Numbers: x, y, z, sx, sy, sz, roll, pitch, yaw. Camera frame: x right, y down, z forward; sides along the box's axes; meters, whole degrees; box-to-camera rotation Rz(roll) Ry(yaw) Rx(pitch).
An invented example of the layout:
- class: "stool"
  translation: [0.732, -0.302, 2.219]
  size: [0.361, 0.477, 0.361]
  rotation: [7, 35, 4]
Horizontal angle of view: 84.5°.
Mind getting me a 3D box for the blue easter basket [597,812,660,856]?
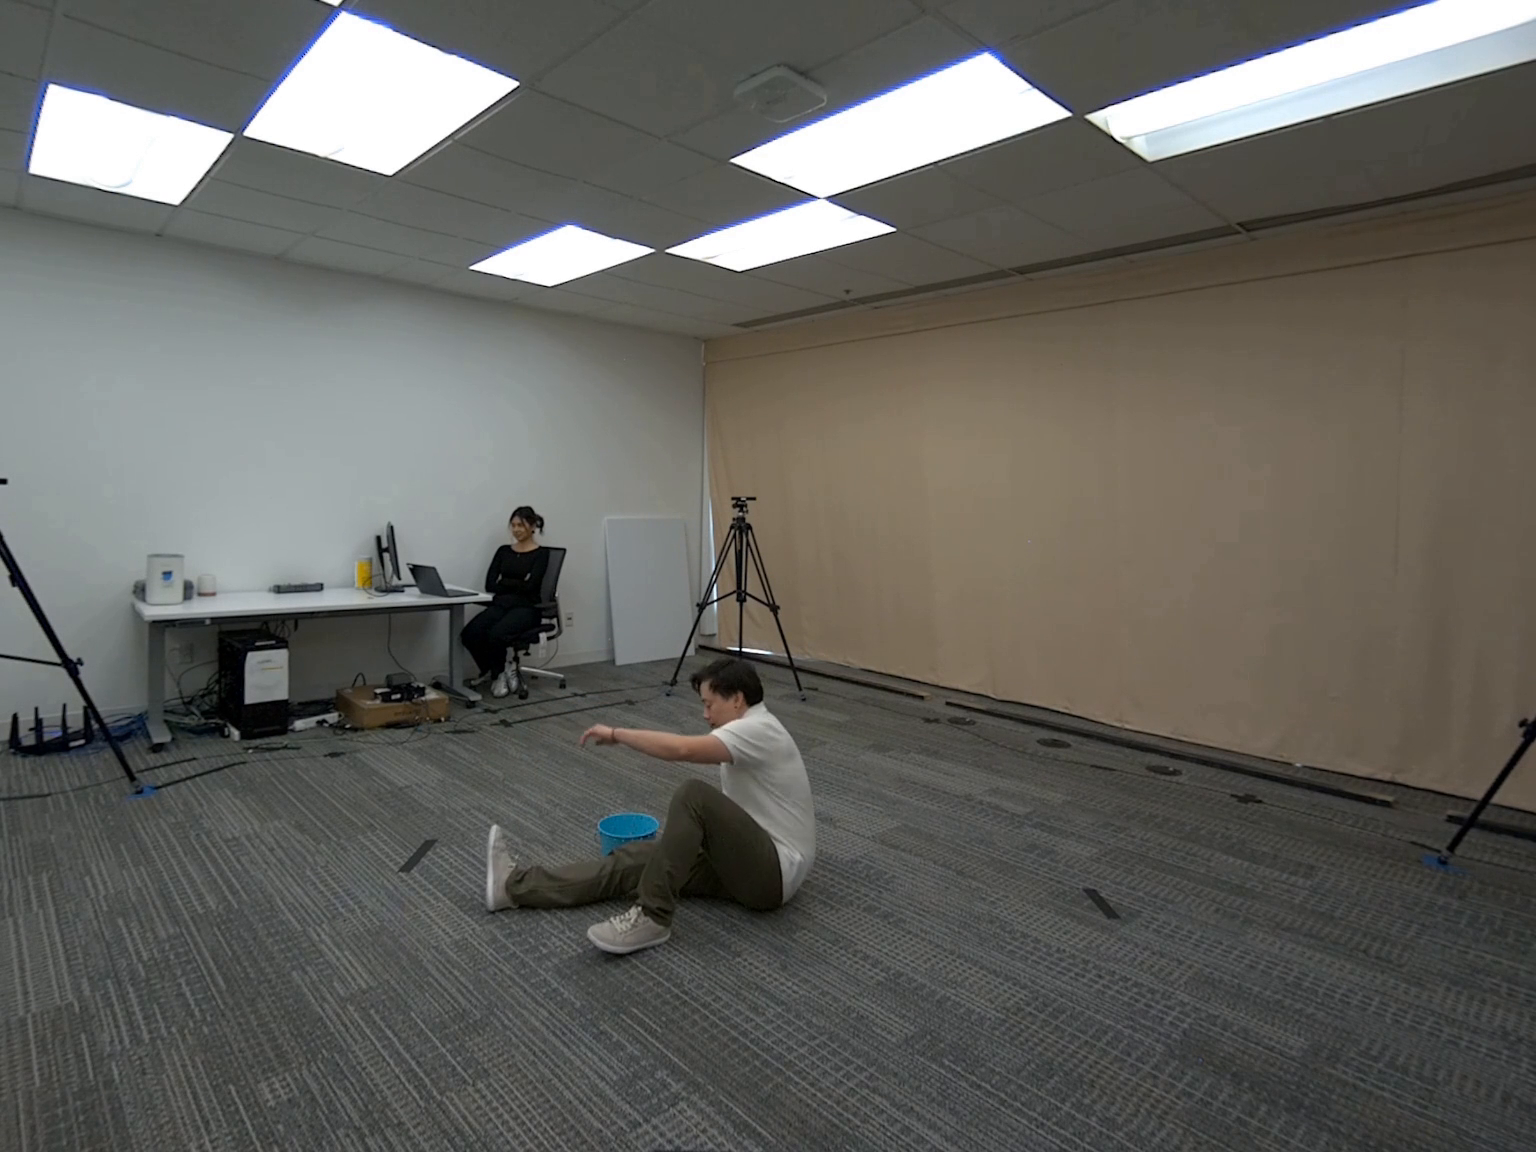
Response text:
- class: "blue easter basket"
  translation: [-0.528, 1.008, 3.191]
  size: [0.243, 0.155, 0.244]
  rotation: [2, 5, -2]
